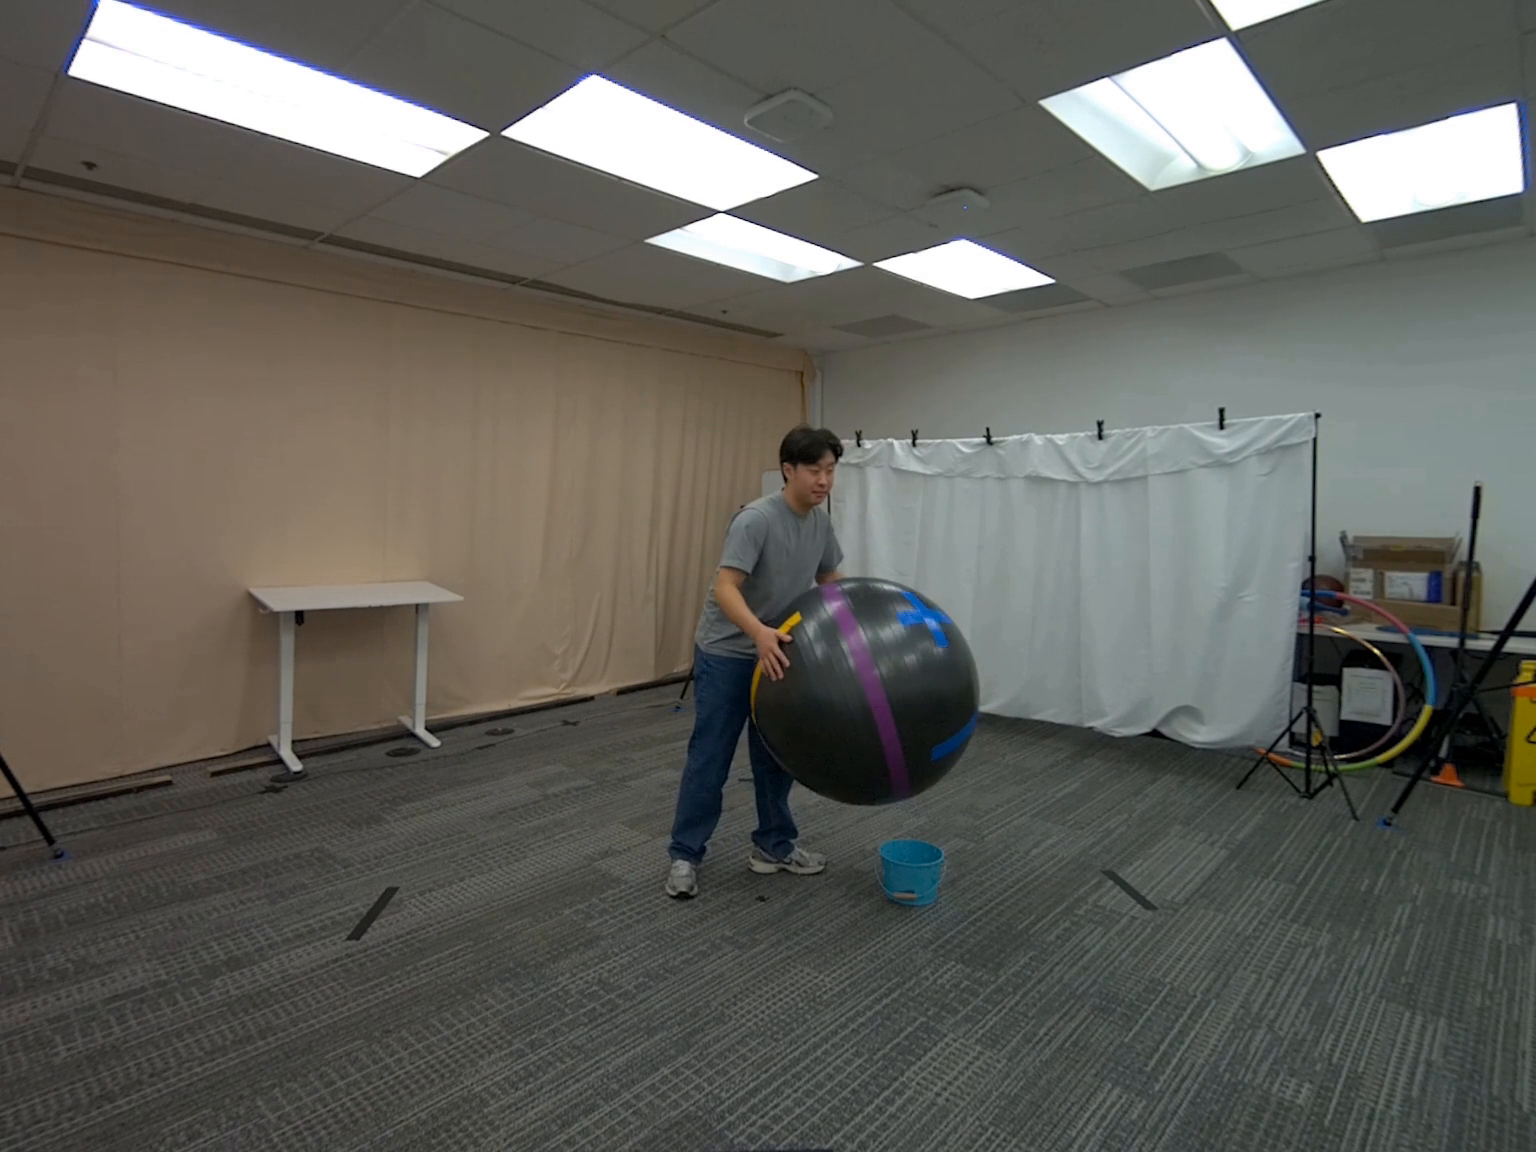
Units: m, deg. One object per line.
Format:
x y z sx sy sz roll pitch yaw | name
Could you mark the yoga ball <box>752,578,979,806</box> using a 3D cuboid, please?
0.331 0.411 2.858 0.757 0.756 0.761 0 4 -2 | yoga ball
